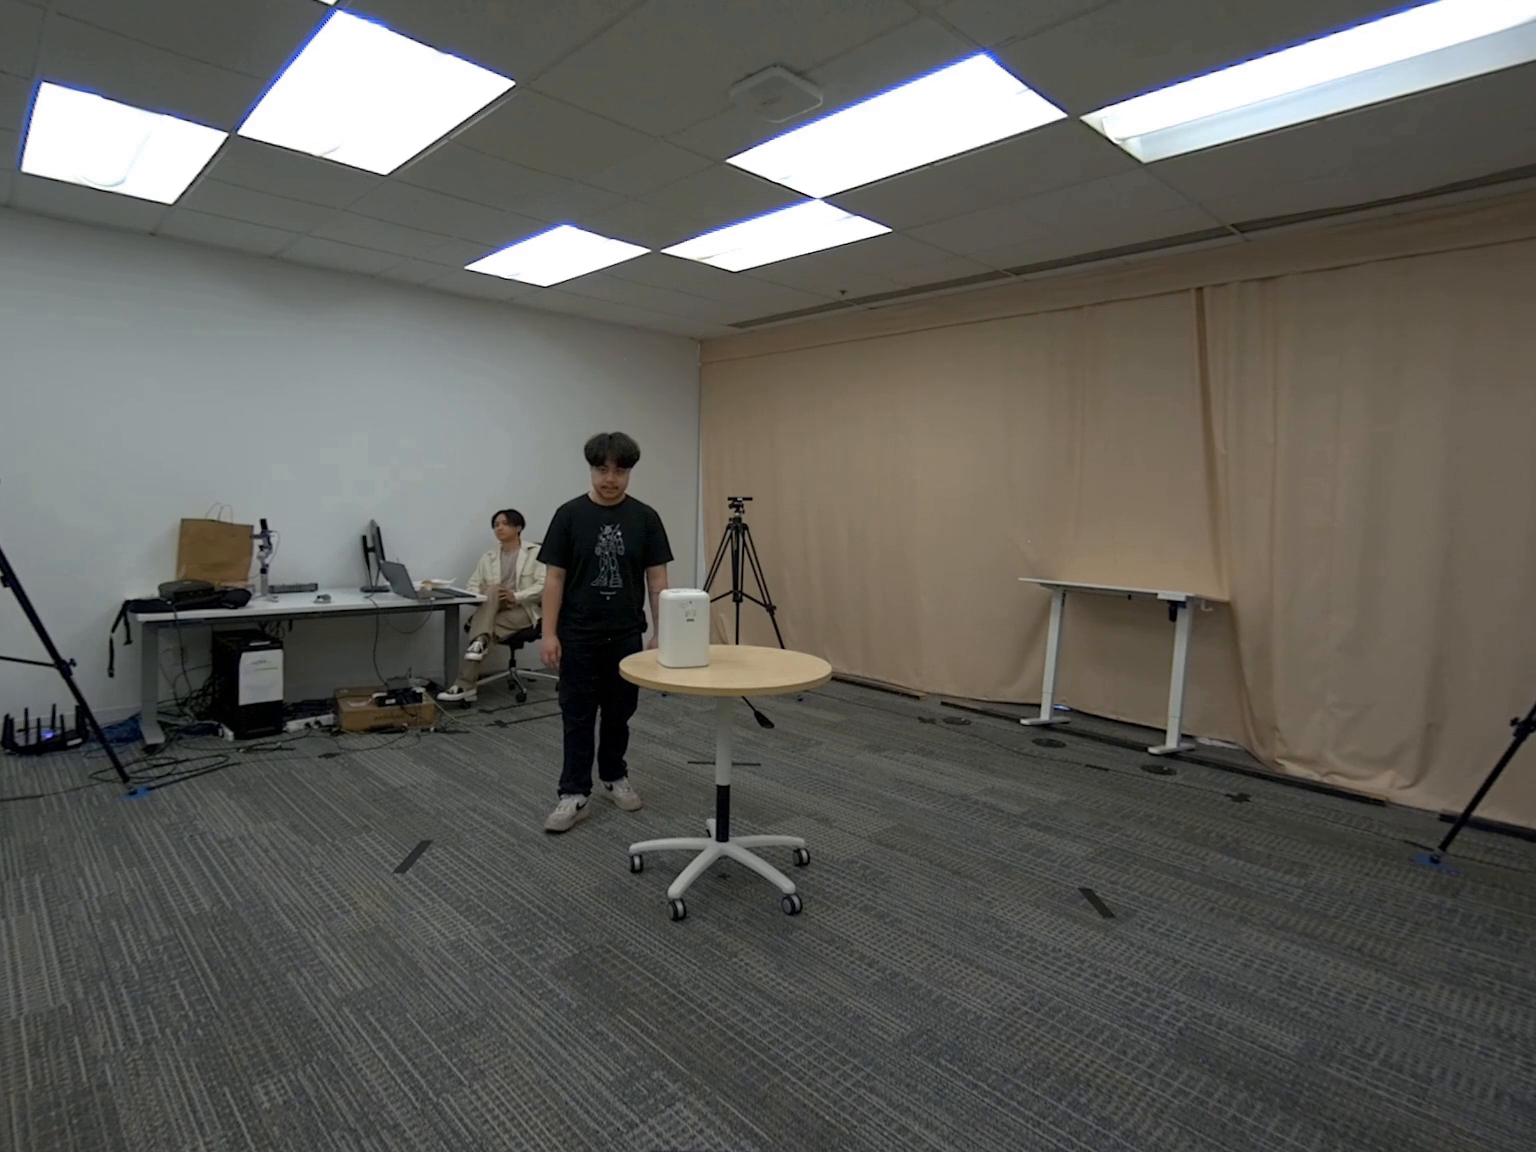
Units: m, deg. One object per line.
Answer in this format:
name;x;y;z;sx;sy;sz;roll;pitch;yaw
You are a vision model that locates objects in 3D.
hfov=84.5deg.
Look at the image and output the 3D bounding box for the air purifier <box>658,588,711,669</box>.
air purifier;-0.314;0.185;3.034;0.168;0.264;0.174;-1;5;-20
